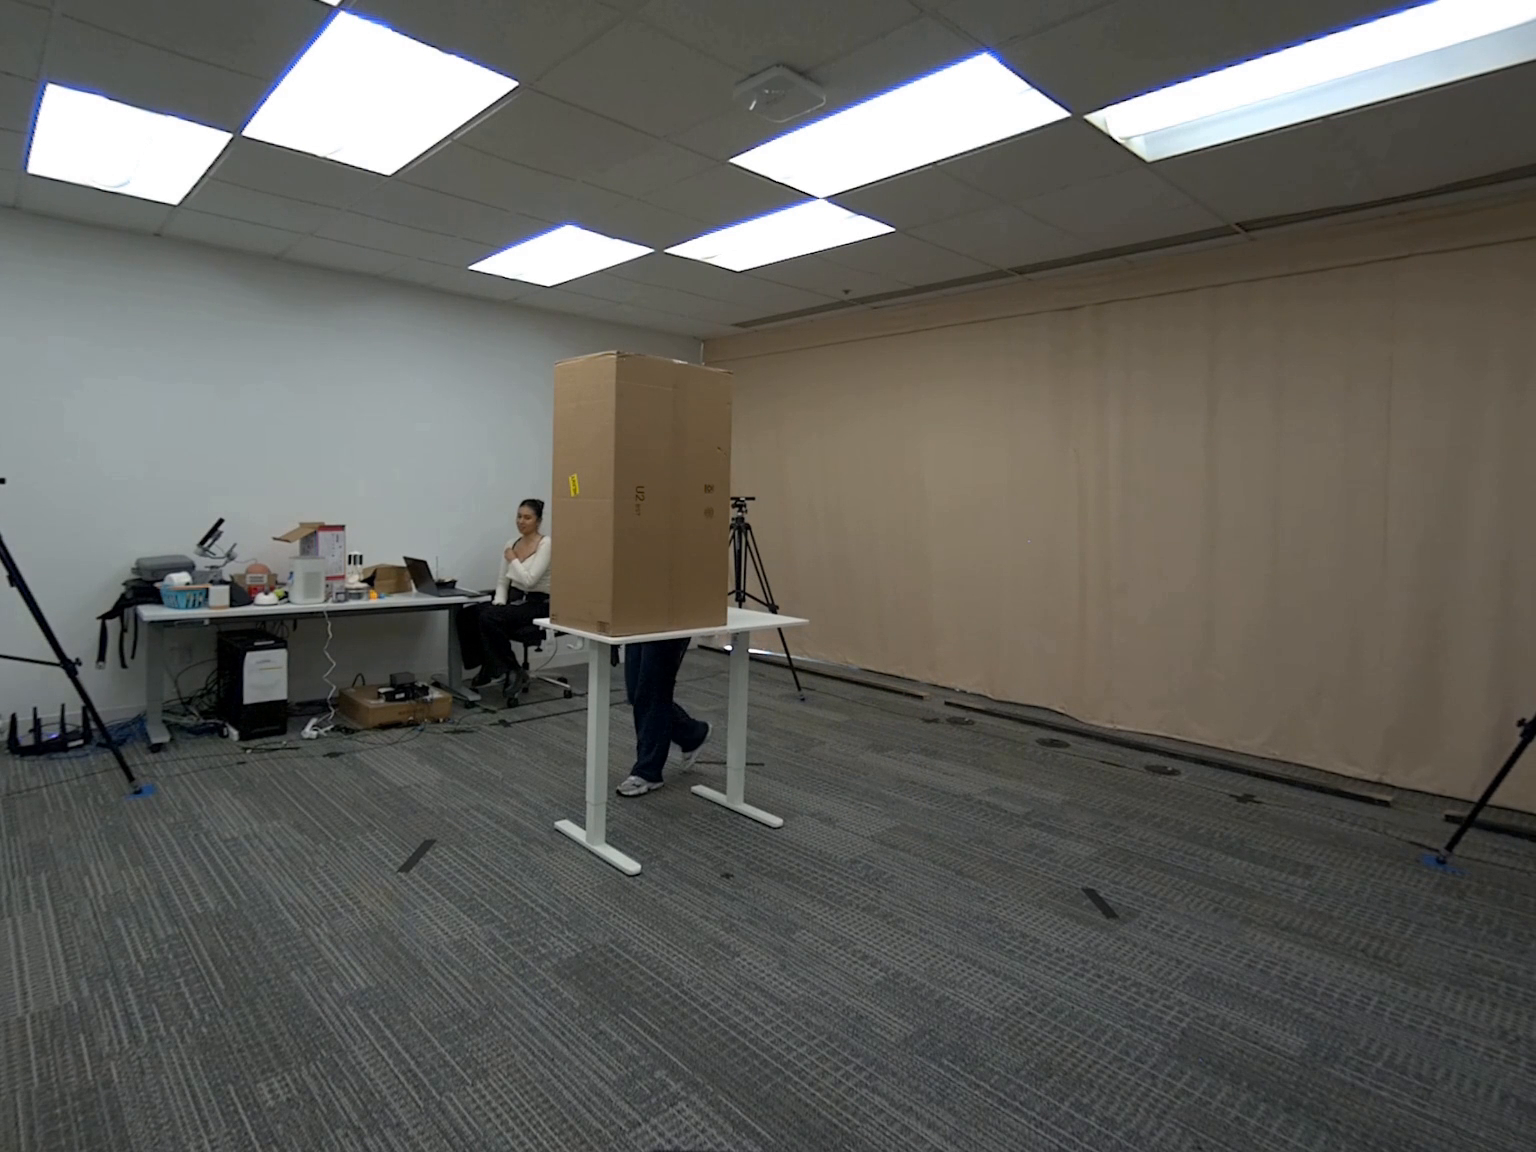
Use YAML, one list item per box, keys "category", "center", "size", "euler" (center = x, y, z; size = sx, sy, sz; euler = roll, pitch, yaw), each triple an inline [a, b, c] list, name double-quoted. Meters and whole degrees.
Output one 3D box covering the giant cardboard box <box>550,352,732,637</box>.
- category: "giant cardboard box"
  center: [-0.502, -0.310, 3.325]
  size: [0.564, 1.024, 0.437]
  euler: [-2, 4, -45]
